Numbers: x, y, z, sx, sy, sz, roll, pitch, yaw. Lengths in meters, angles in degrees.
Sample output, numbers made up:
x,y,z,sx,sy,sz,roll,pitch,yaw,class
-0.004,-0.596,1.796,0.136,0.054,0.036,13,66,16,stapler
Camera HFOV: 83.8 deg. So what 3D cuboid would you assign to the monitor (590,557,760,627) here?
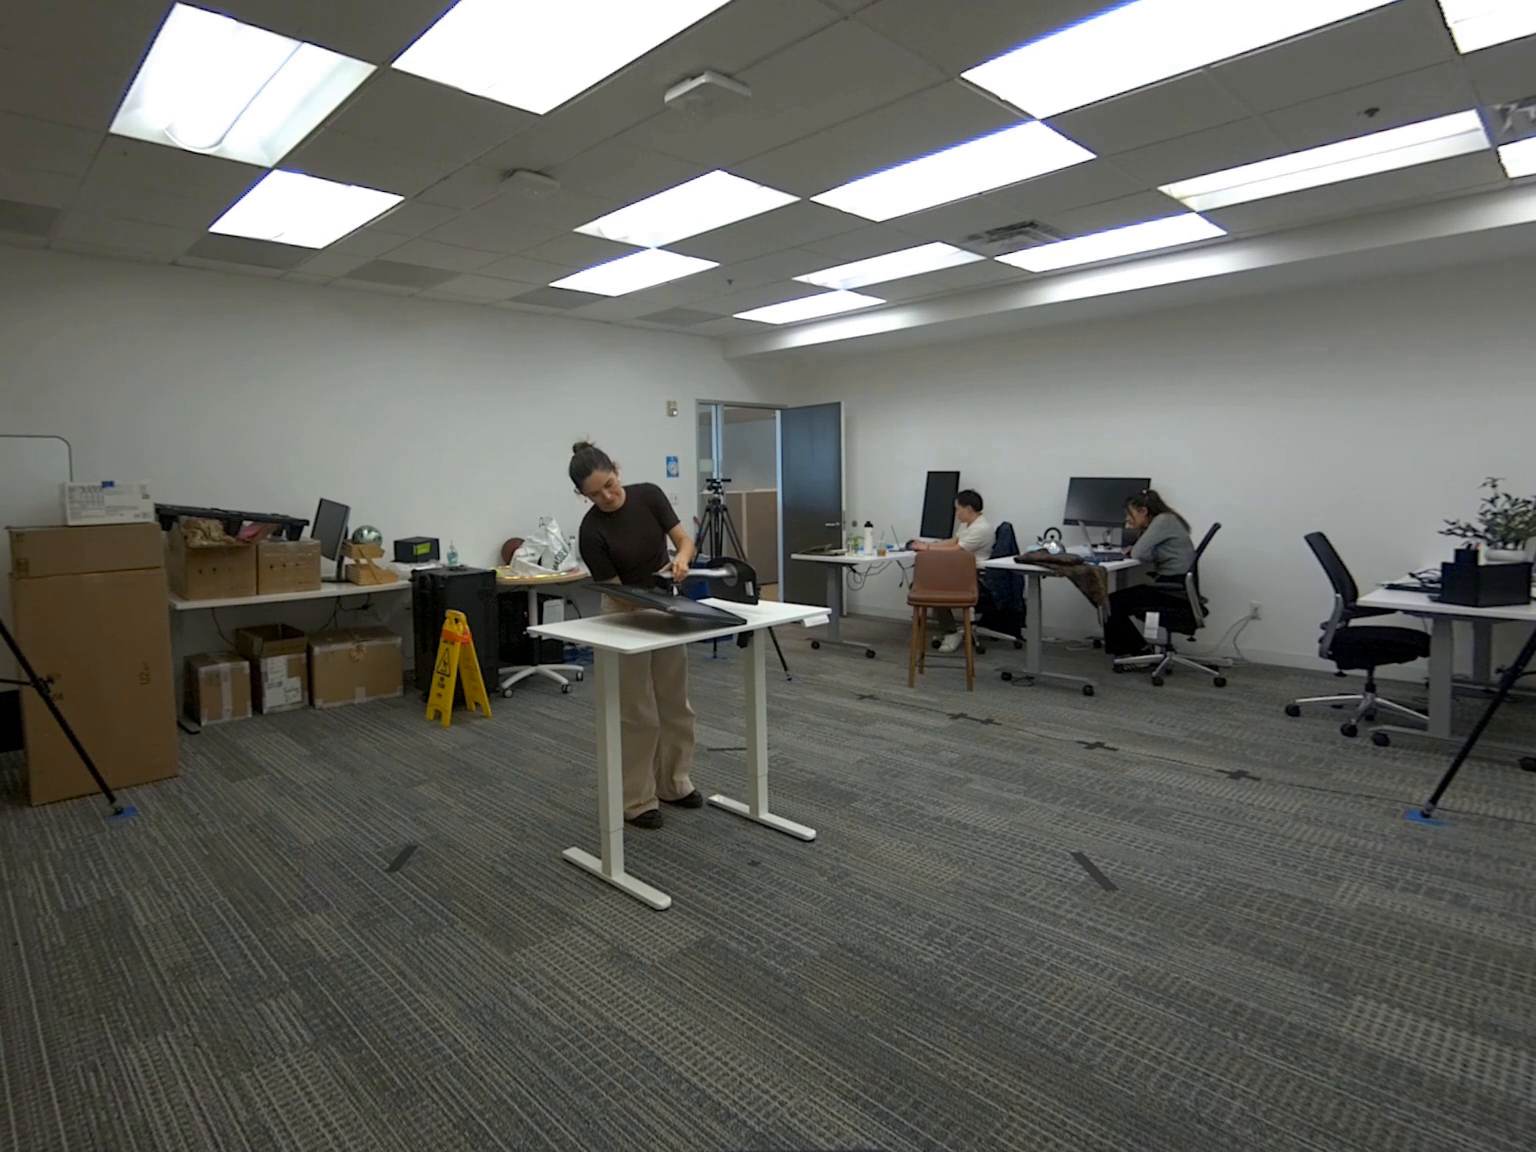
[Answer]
x,y,z,sx,sy,sz,roll,pitch,yaw,class
-0.296,0.057,3.140,0.511,0.185,0.556,-13,13,-38,monitor
